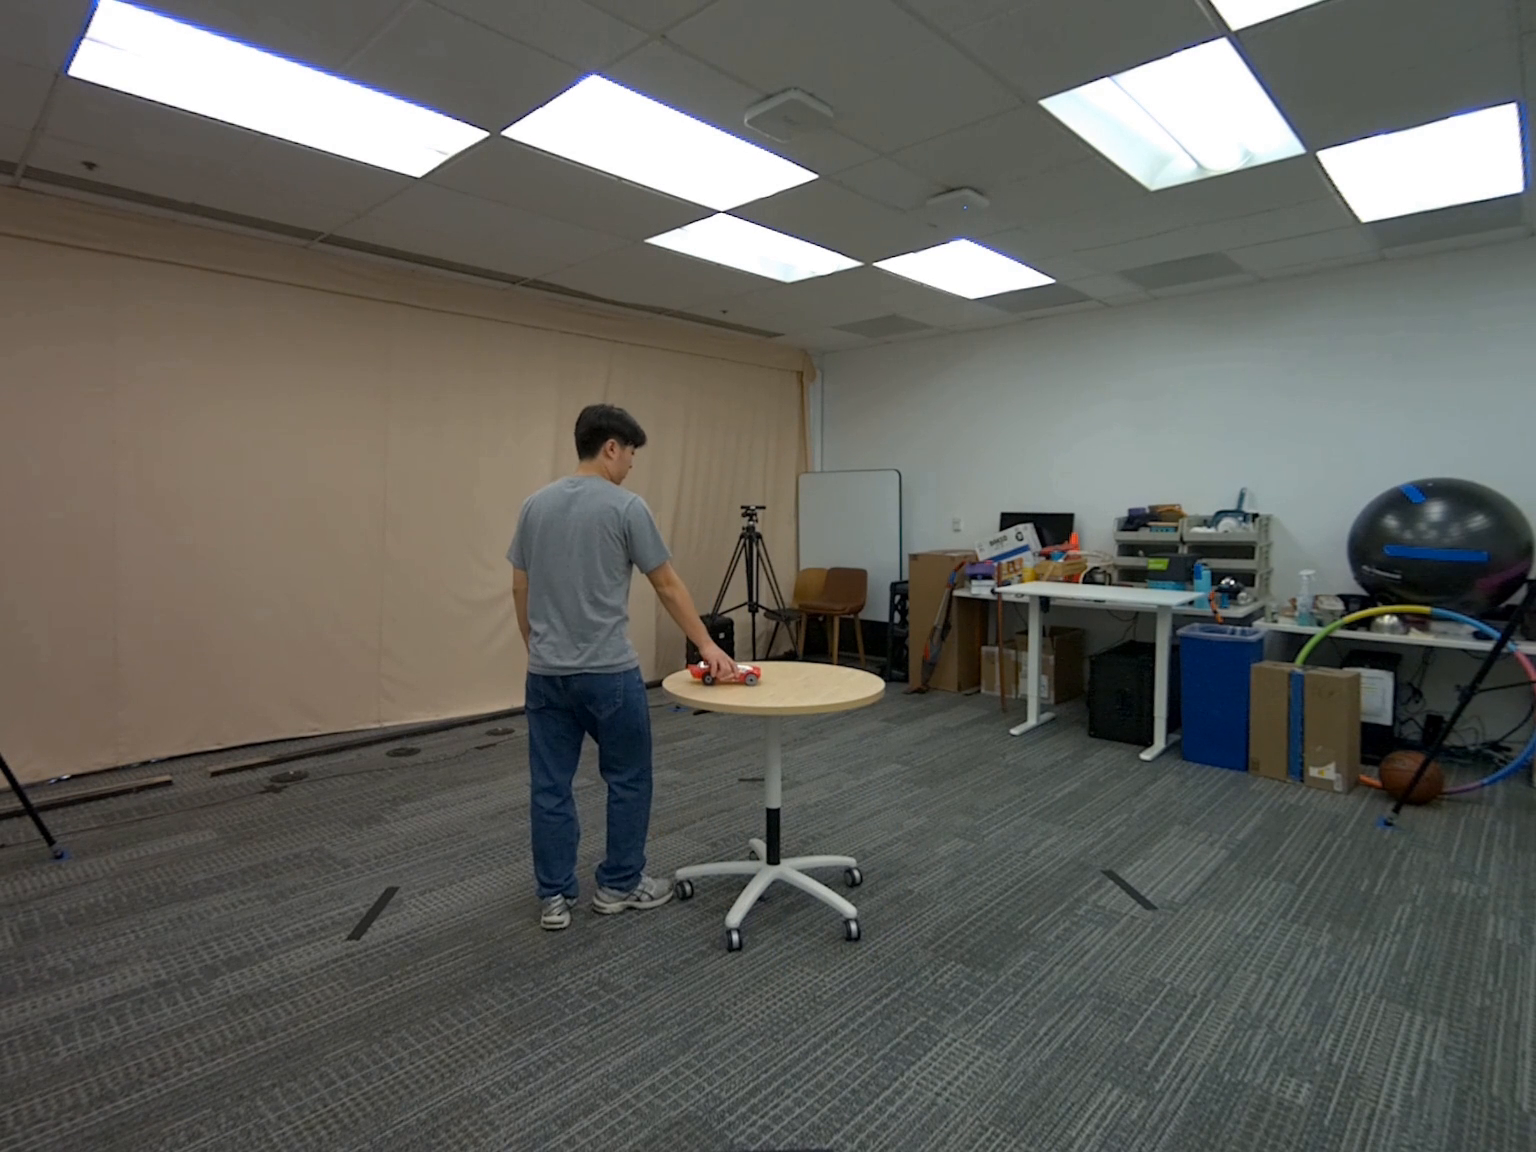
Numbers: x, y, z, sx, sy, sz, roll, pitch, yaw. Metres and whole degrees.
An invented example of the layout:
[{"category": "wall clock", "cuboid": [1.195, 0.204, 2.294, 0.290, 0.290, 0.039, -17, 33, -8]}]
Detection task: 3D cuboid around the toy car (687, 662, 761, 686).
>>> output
[{"category": "toy car", "cuboid": [-0.147, 0.339, 2.891, 0.255, 0.083, 0.130, 12, 5, 0]}]
